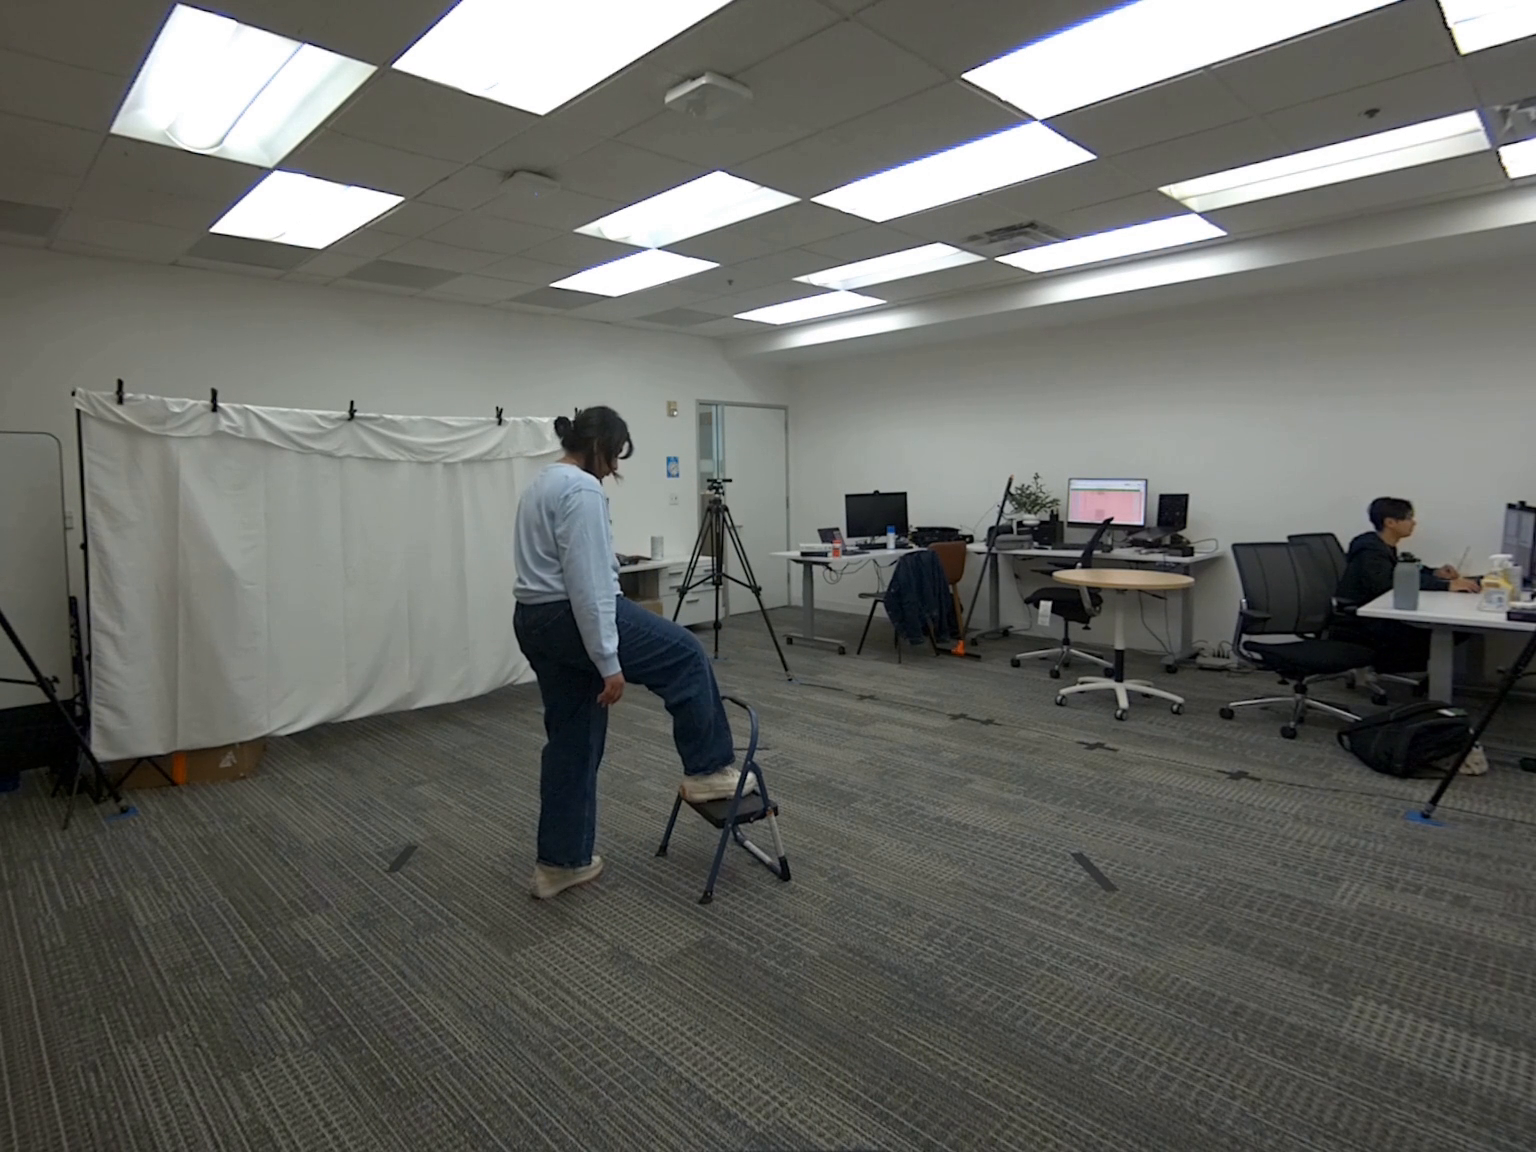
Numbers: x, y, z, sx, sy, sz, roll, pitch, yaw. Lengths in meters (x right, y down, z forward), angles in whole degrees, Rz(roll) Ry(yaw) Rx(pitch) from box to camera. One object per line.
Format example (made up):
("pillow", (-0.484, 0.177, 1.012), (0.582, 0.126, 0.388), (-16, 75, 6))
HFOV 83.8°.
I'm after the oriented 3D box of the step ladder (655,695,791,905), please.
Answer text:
("step ladder", (-0.168, 0.751, 3.062), (0.341, 0.604, 0.442), (-3, 5, -28))
